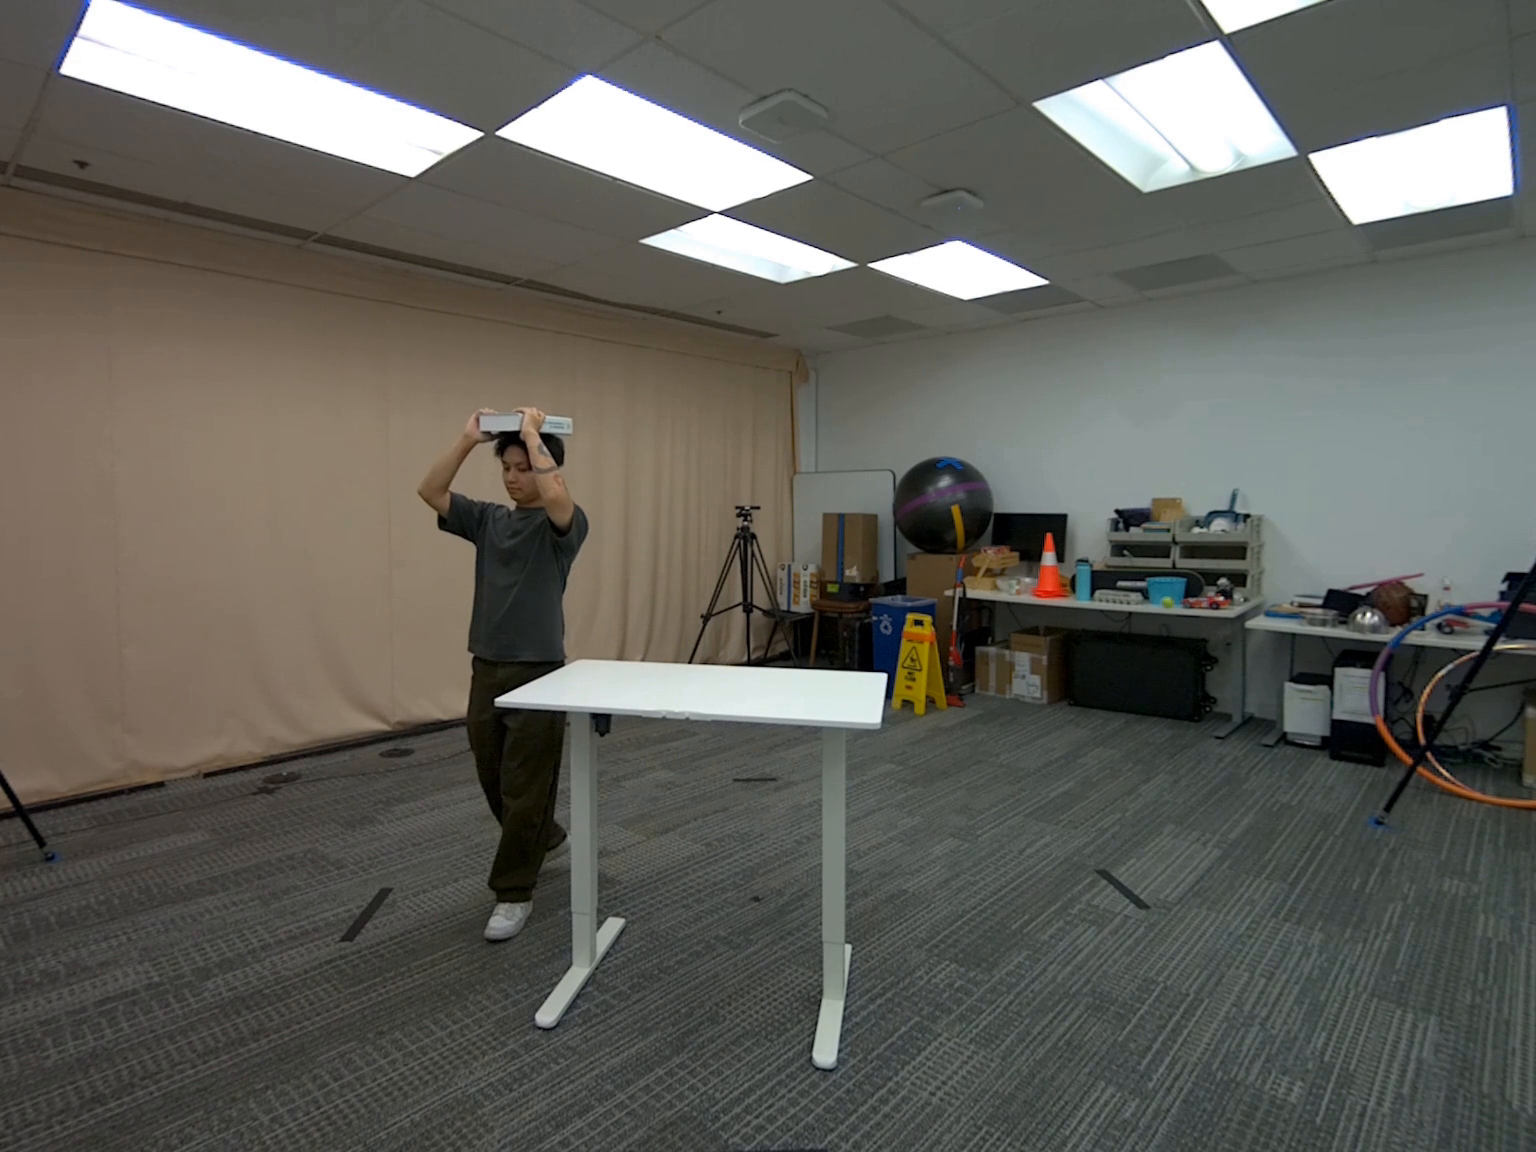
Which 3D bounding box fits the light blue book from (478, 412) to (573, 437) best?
[{"bbox_3d":[-0.827,-0.516,2.859,0.197,0.059,0.255,4,7,27],"label":"light blue book"}]
